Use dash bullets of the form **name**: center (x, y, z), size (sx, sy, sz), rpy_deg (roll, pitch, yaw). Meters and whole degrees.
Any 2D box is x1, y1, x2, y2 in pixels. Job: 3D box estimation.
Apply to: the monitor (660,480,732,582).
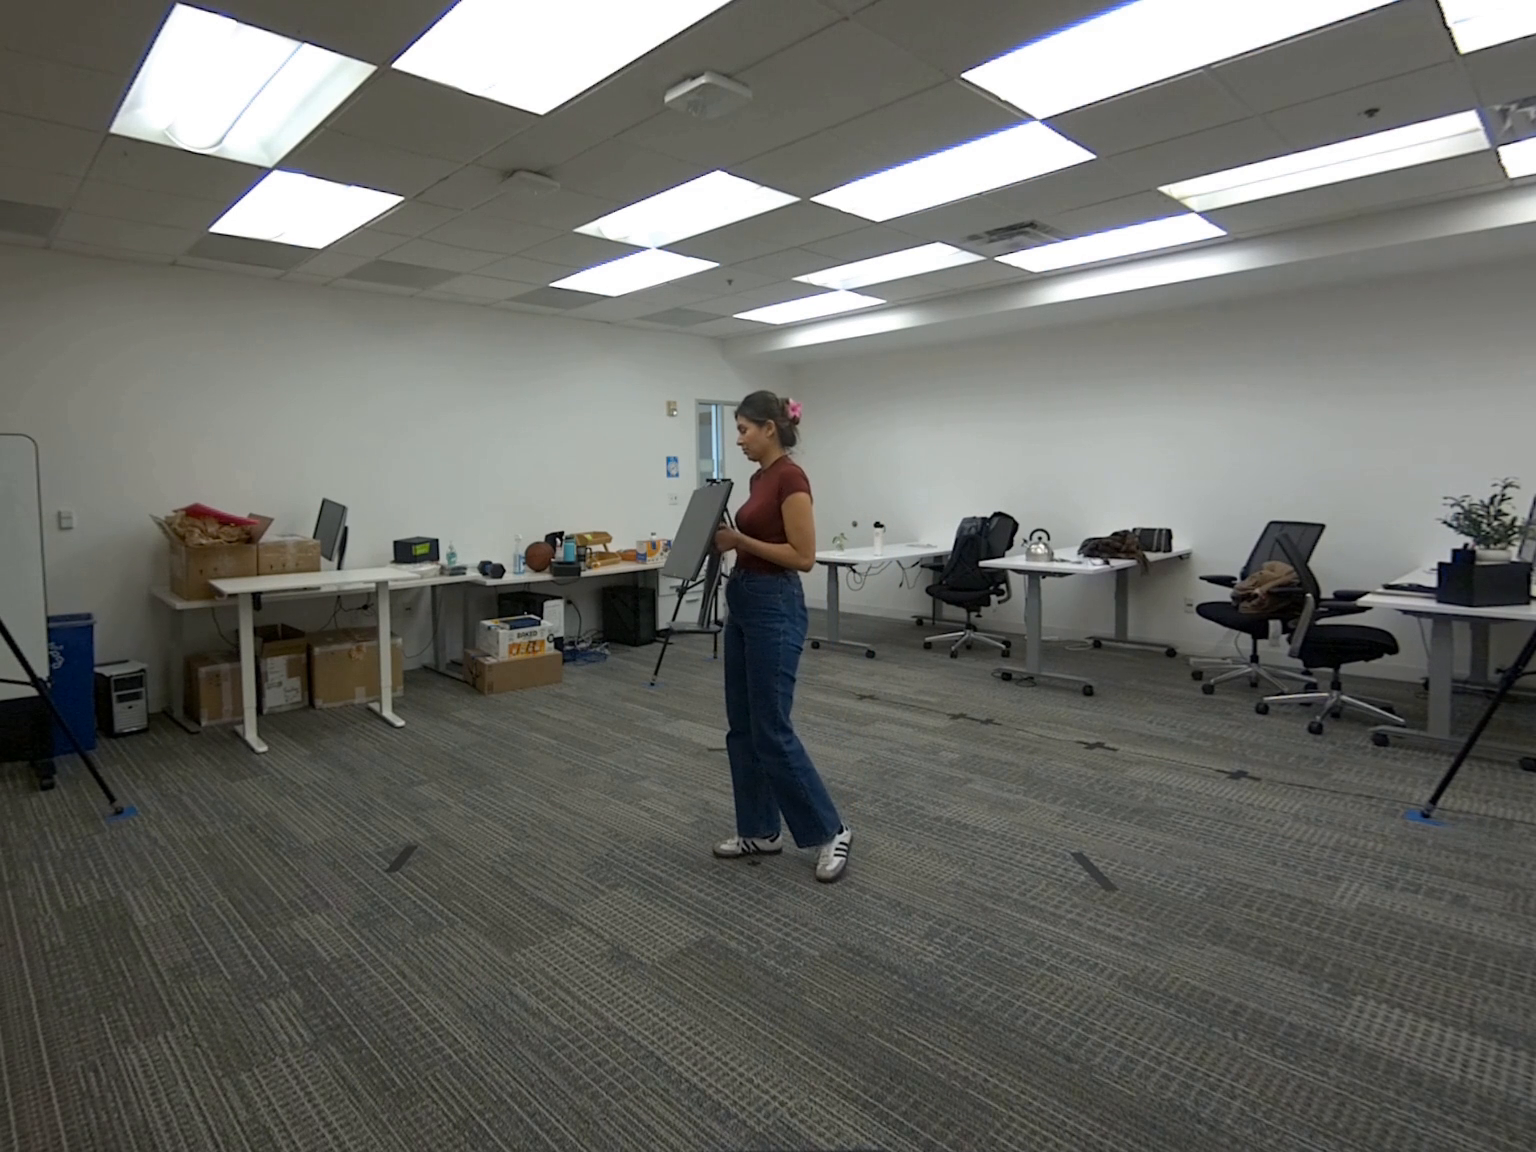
- **monitor**: center (-0.230, -0.062, 3.029), size (0.183, 0.524, 0.548), rpy_deg (8, -2, -20)
